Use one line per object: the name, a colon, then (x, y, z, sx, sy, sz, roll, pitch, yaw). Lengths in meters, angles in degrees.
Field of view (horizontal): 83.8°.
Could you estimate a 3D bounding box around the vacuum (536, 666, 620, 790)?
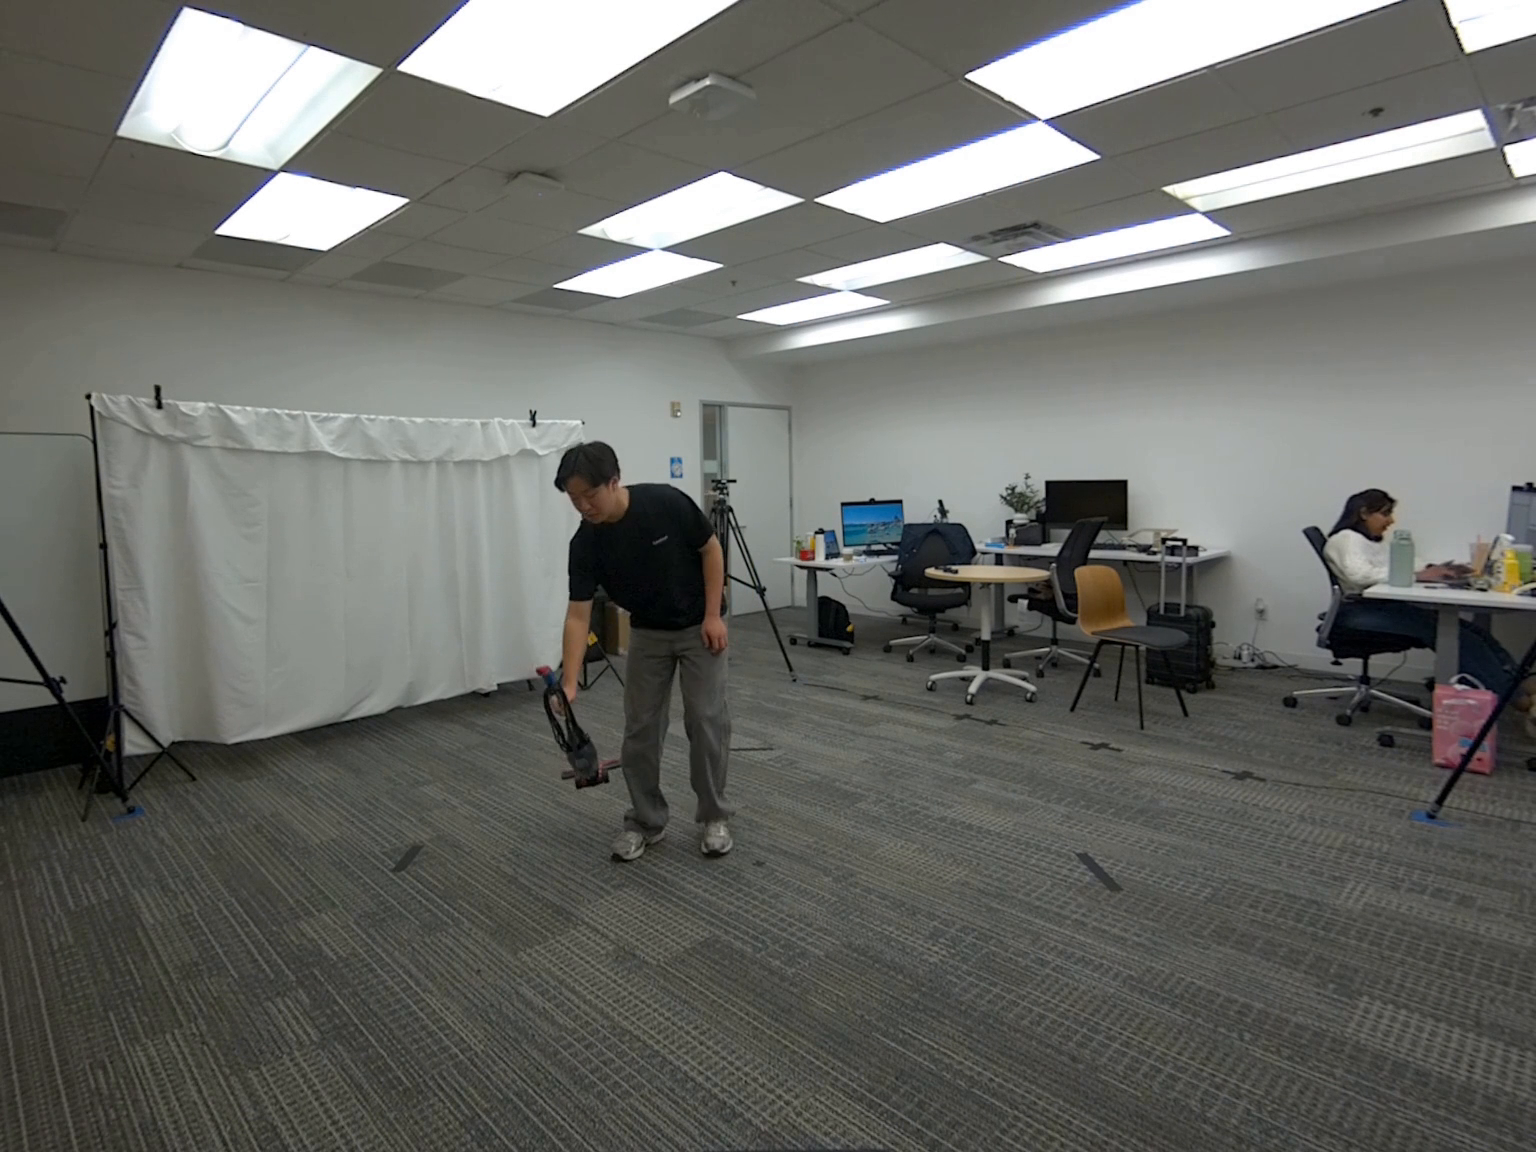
vacuum: (-0.705, 0.552, 3.027, 0.251, 0.148, 1.024, -8, -31, -8)
